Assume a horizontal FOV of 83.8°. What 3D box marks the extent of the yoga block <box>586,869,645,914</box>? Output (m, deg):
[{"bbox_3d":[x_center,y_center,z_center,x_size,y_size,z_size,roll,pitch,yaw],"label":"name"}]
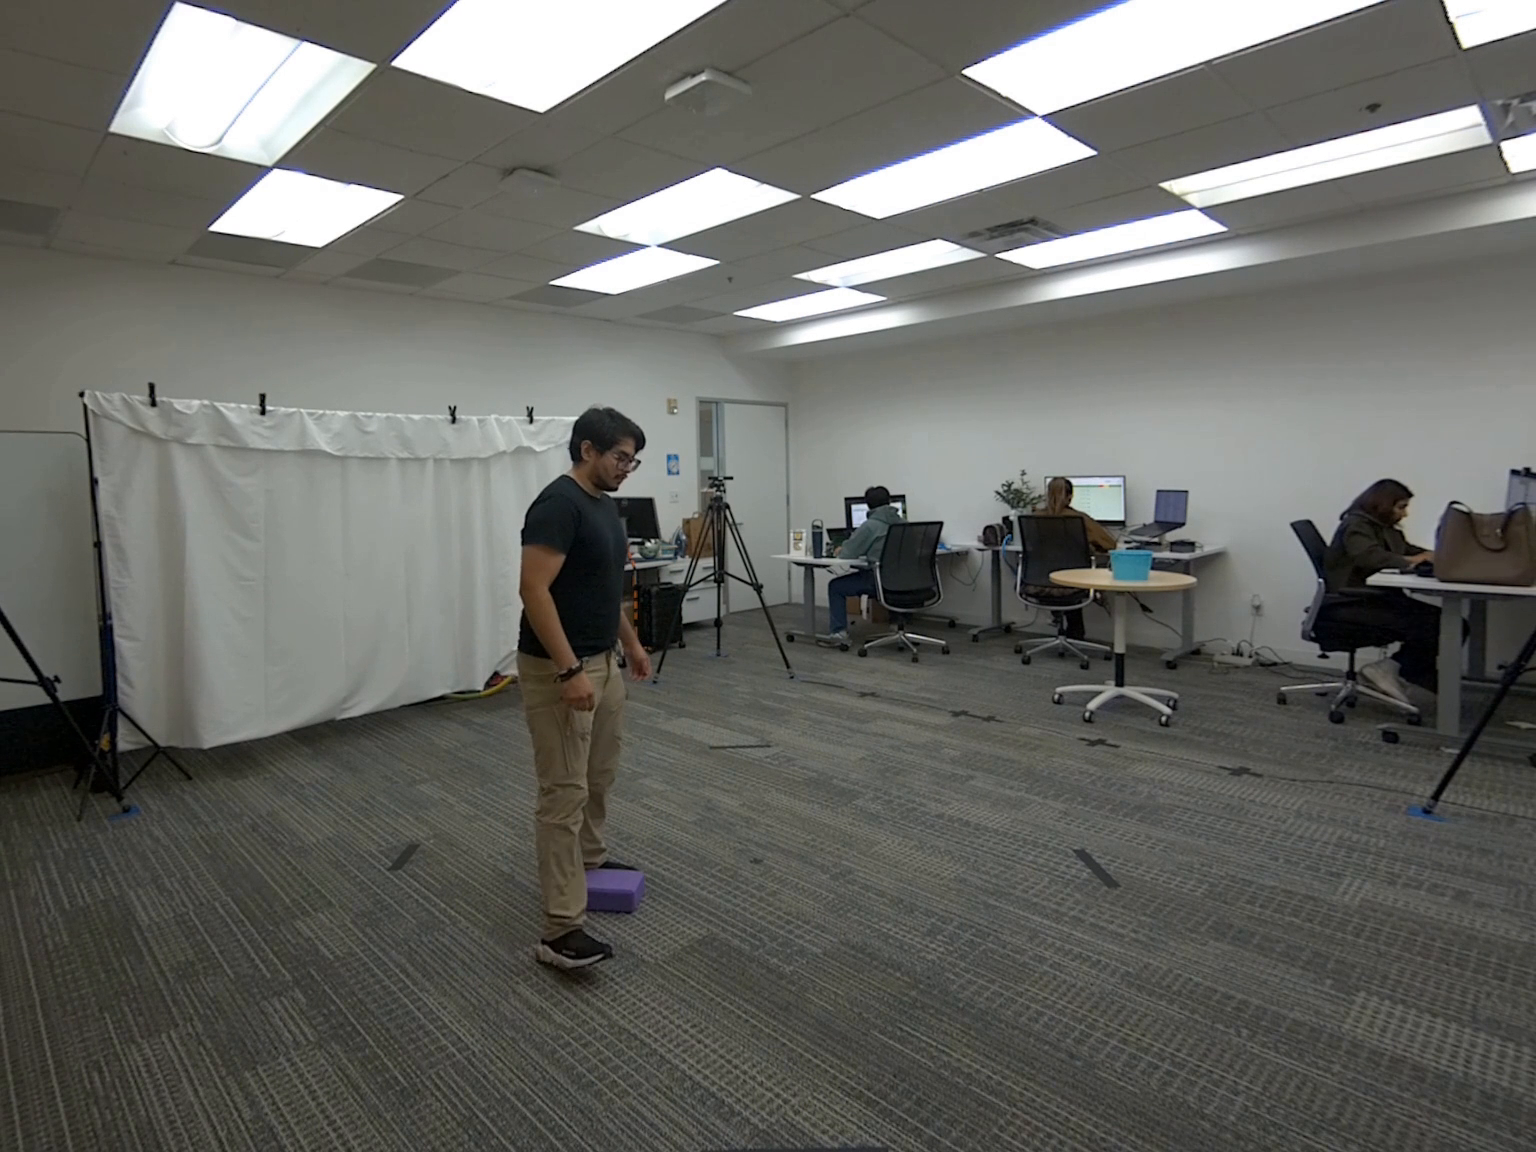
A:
[{"bbox_3d":[-0.529,1.036,2.834,0.231,0.076,0.148,0,6,8],"label":"yoga block"}]
